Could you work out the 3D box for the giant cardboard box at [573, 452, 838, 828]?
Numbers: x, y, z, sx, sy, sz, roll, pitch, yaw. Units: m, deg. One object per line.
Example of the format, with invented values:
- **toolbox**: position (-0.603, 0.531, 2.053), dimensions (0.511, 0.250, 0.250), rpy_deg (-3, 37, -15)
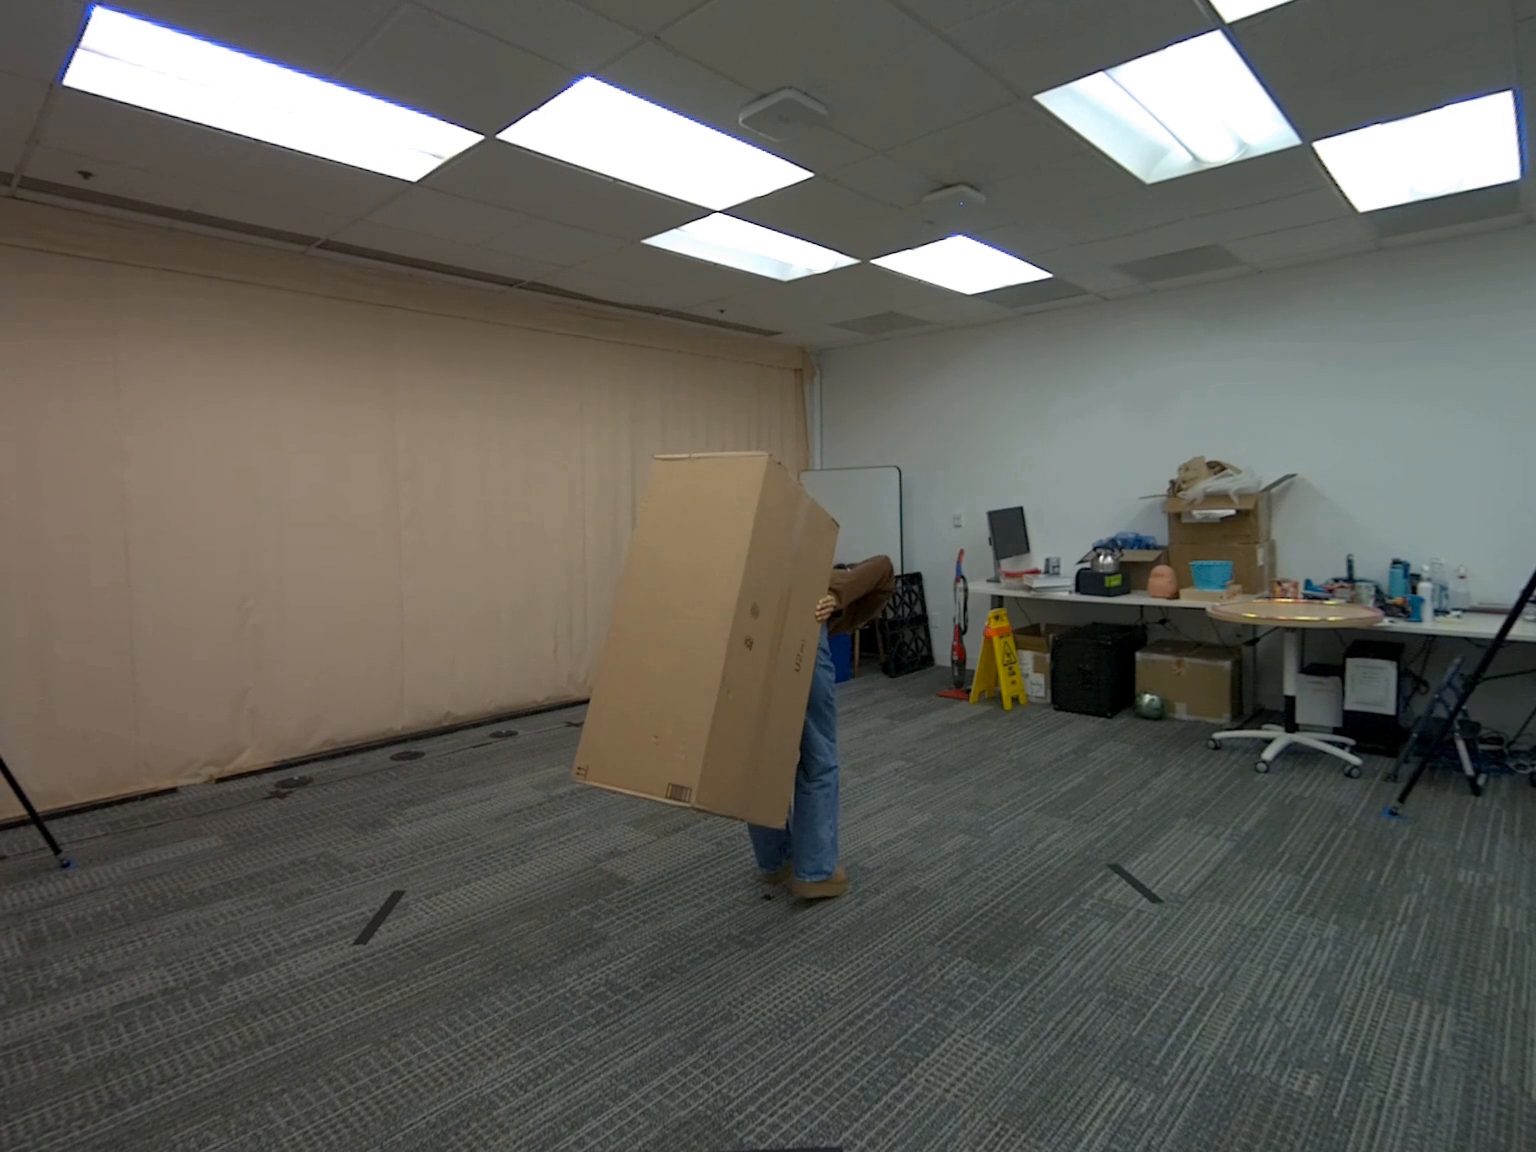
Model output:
- **giant cardboard box**: position (-0.157, 0.205, 2.647), dimensions (0.460, 1.033, 0.564), rpy_deg (3, -19, 29)
